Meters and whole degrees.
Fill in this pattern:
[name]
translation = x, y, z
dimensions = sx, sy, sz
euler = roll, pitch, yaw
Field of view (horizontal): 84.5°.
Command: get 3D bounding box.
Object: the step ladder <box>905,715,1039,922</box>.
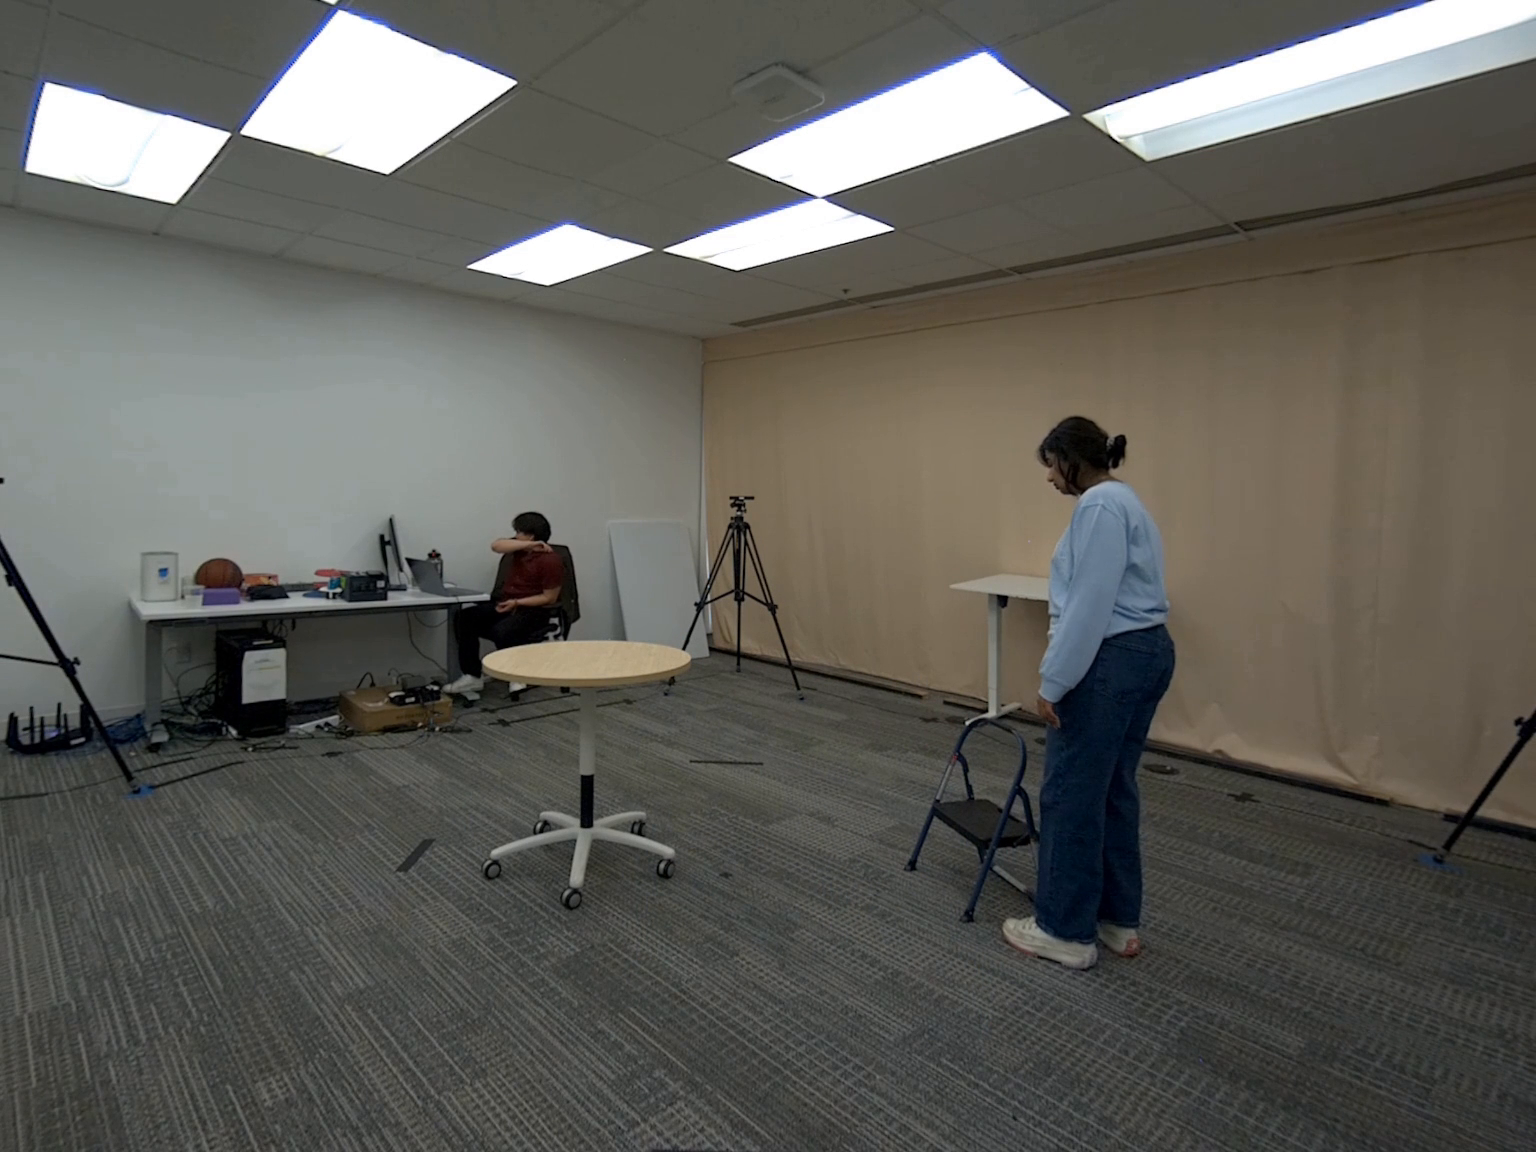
[step ladder]
translation = 0.748, 0.832, 3.032
dimensions = 0.344, 0.604, 0.438
euler = 1, 4, -18
